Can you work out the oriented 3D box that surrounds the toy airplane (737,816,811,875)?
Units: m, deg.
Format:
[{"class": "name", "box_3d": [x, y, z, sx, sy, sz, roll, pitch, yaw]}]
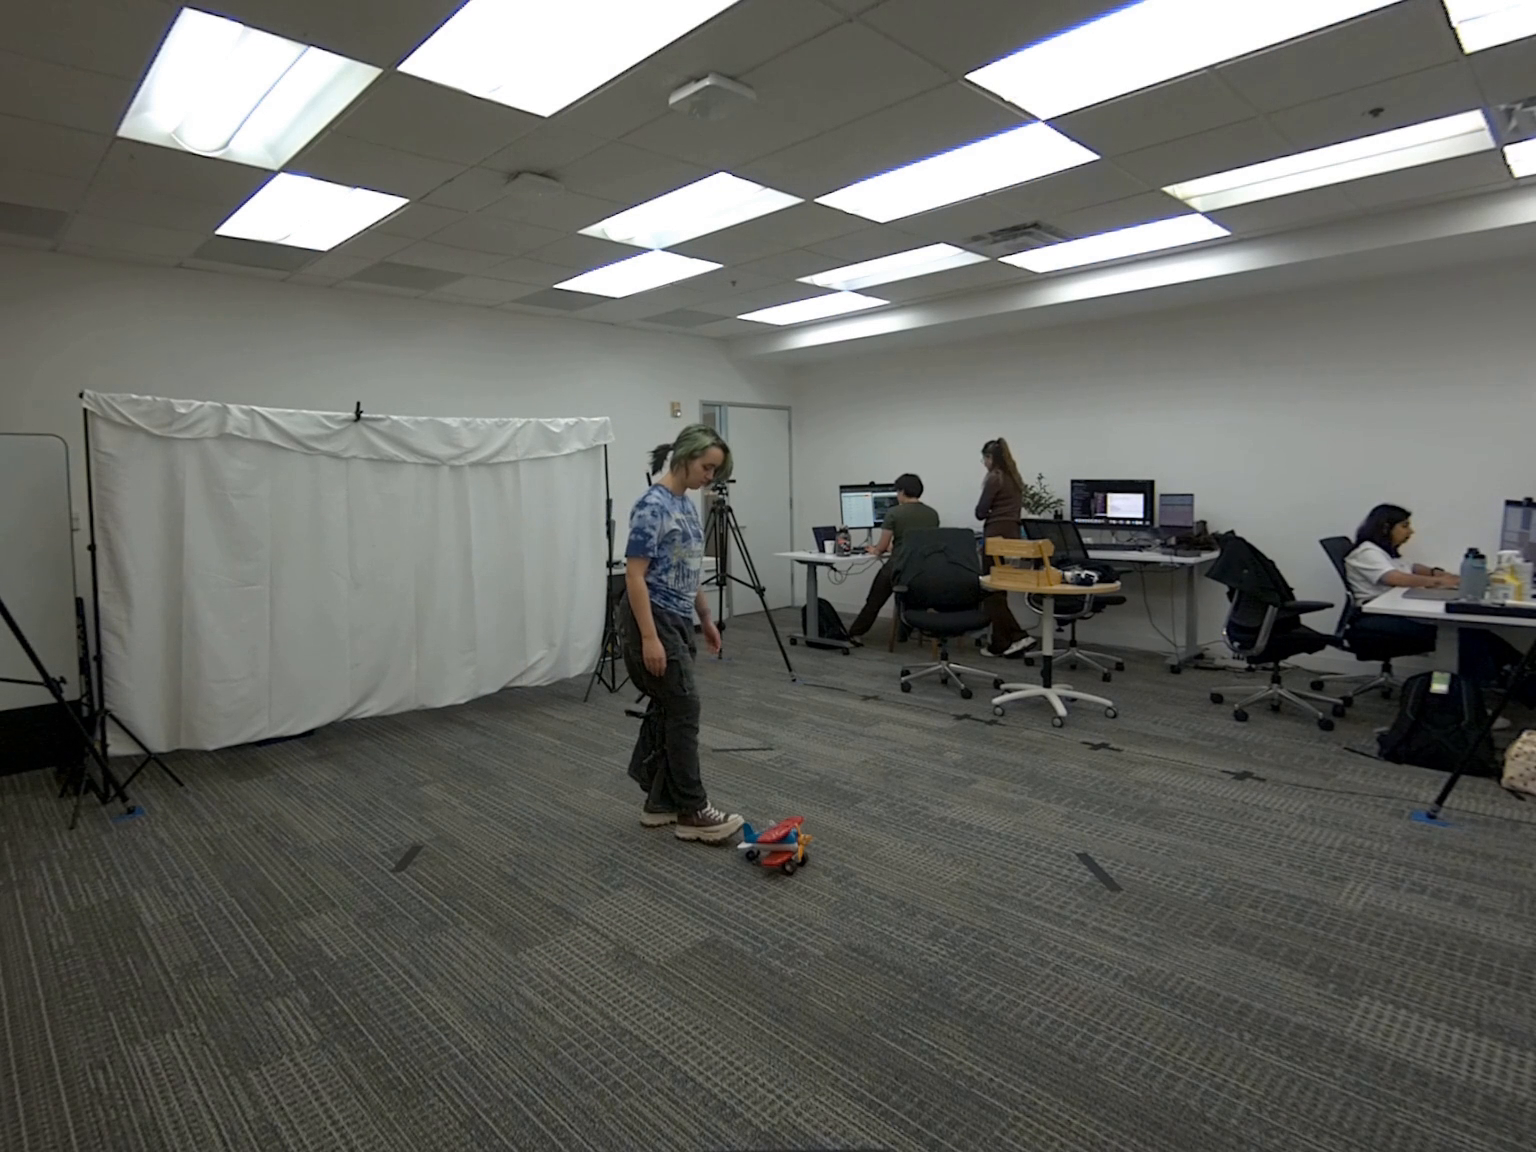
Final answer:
[{"class": "toy airplane", "box_3d": [0.018, 0.972, 3.081, 0.261, 0.156, 0.251, 1, 5, 5]}]
